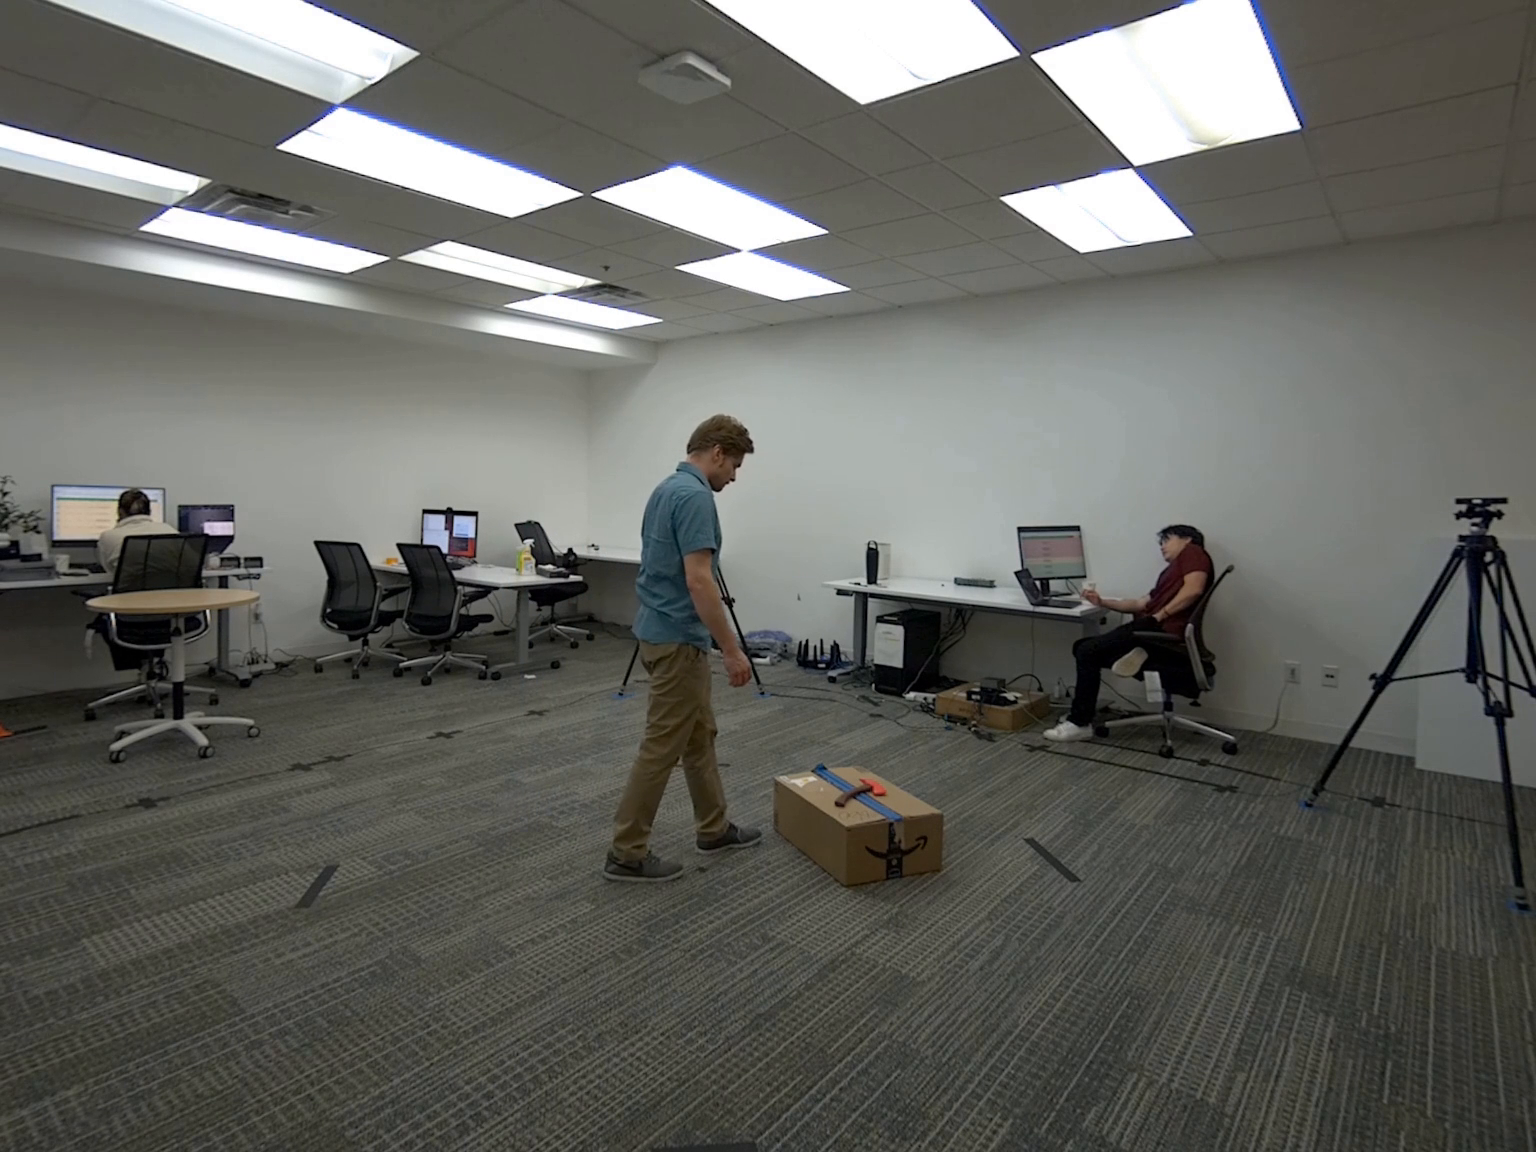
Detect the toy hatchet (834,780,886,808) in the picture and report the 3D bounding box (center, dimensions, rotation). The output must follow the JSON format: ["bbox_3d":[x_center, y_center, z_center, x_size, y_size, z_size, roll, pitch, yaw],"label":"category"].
[{"bbox_3d":[0.357,0.839,3.258,0.135,0.029,0.264,12,13,30],"label":"toy hatchet"}]
